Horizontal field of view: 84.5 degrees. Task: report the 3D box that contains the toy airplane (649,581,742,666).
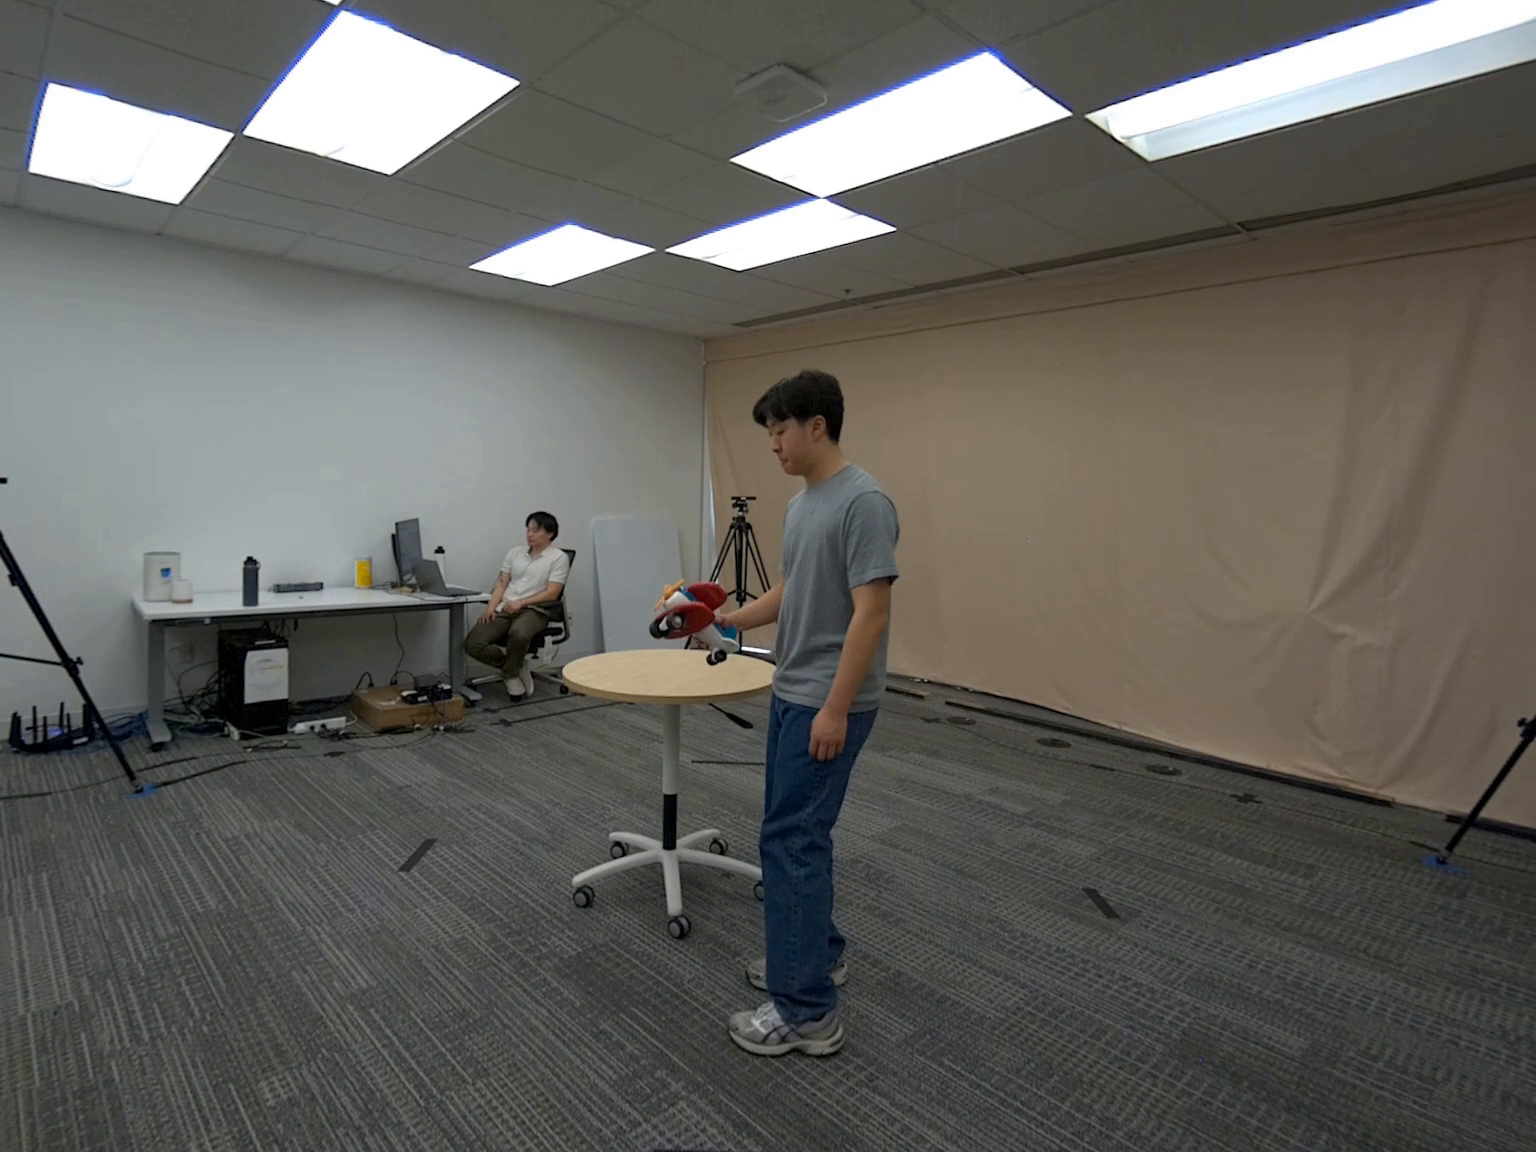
[{"bbox_3d":[-0.207,0.137,2.372,0.256,0.158,0.251,0,-35,28],"label":"toy airplane"}]
